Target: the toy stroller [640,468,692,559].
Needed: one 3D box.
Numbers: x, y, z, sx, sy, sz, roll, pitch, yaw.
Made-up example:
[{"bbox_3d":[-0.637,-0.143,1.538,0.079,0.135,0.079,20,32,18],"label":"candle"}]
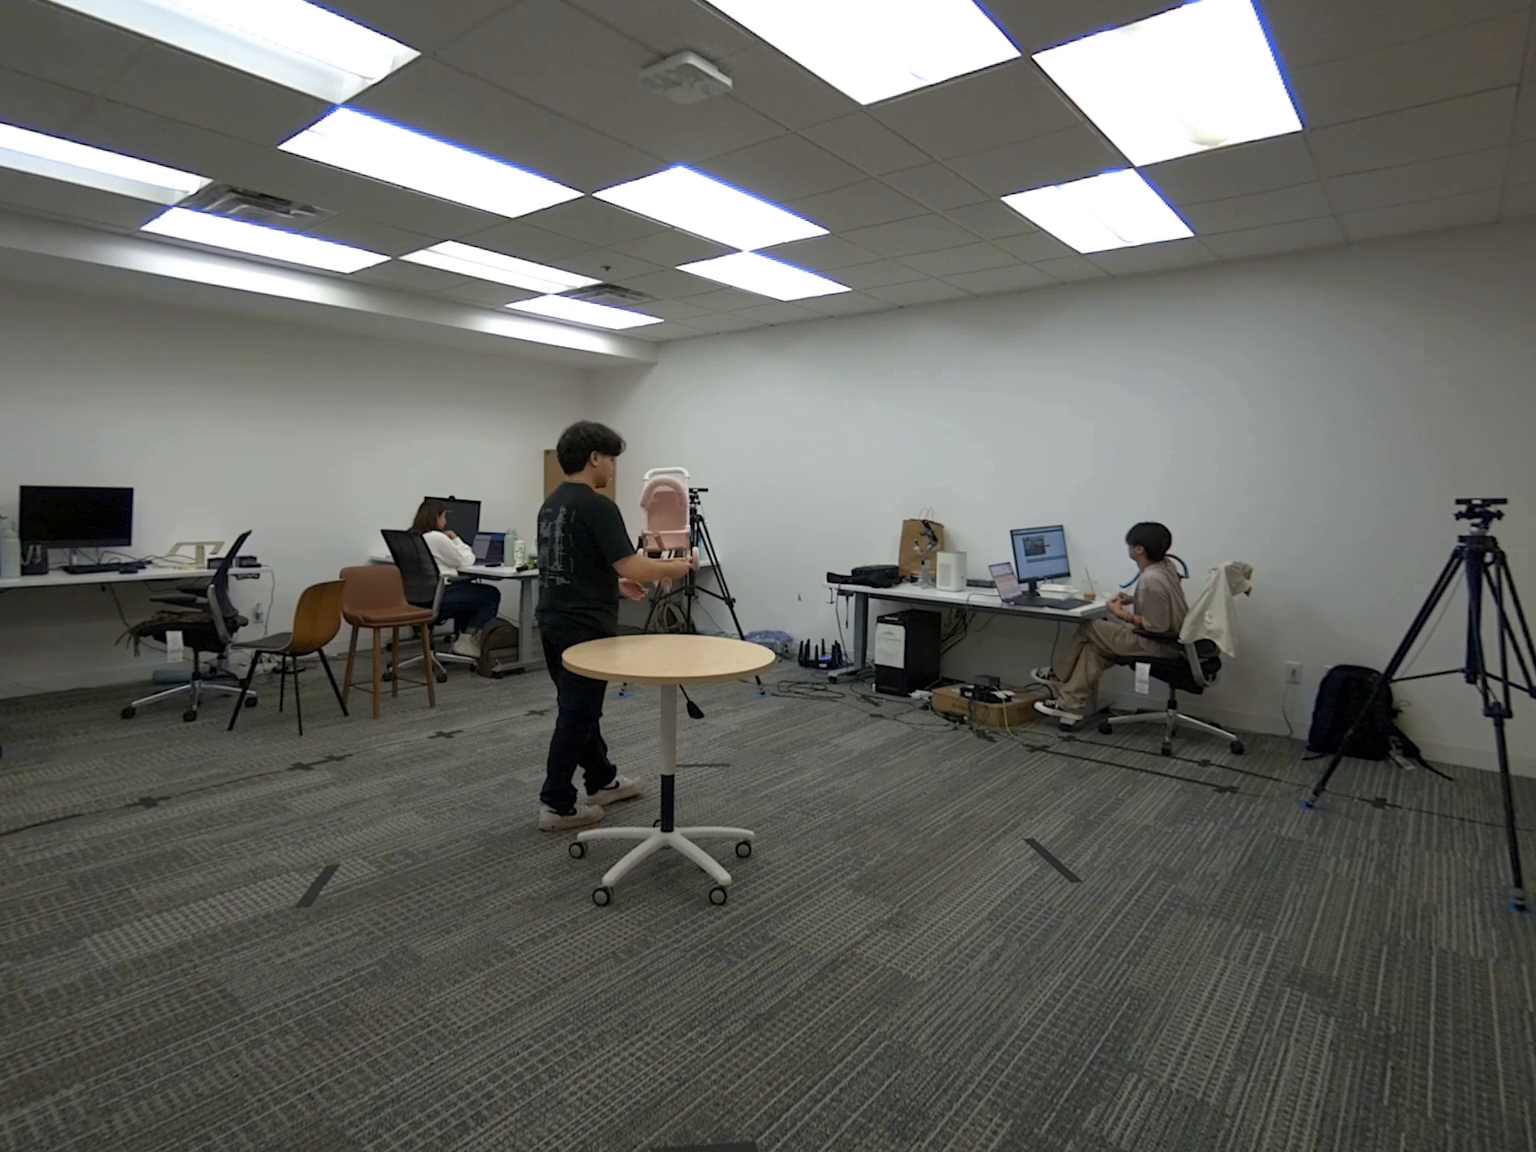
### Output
[{"bbox_3d":[-0.469,-0.208,3.751,0.282,0.532,0.343,-1,6,1],"label":"toy stroller"}]
